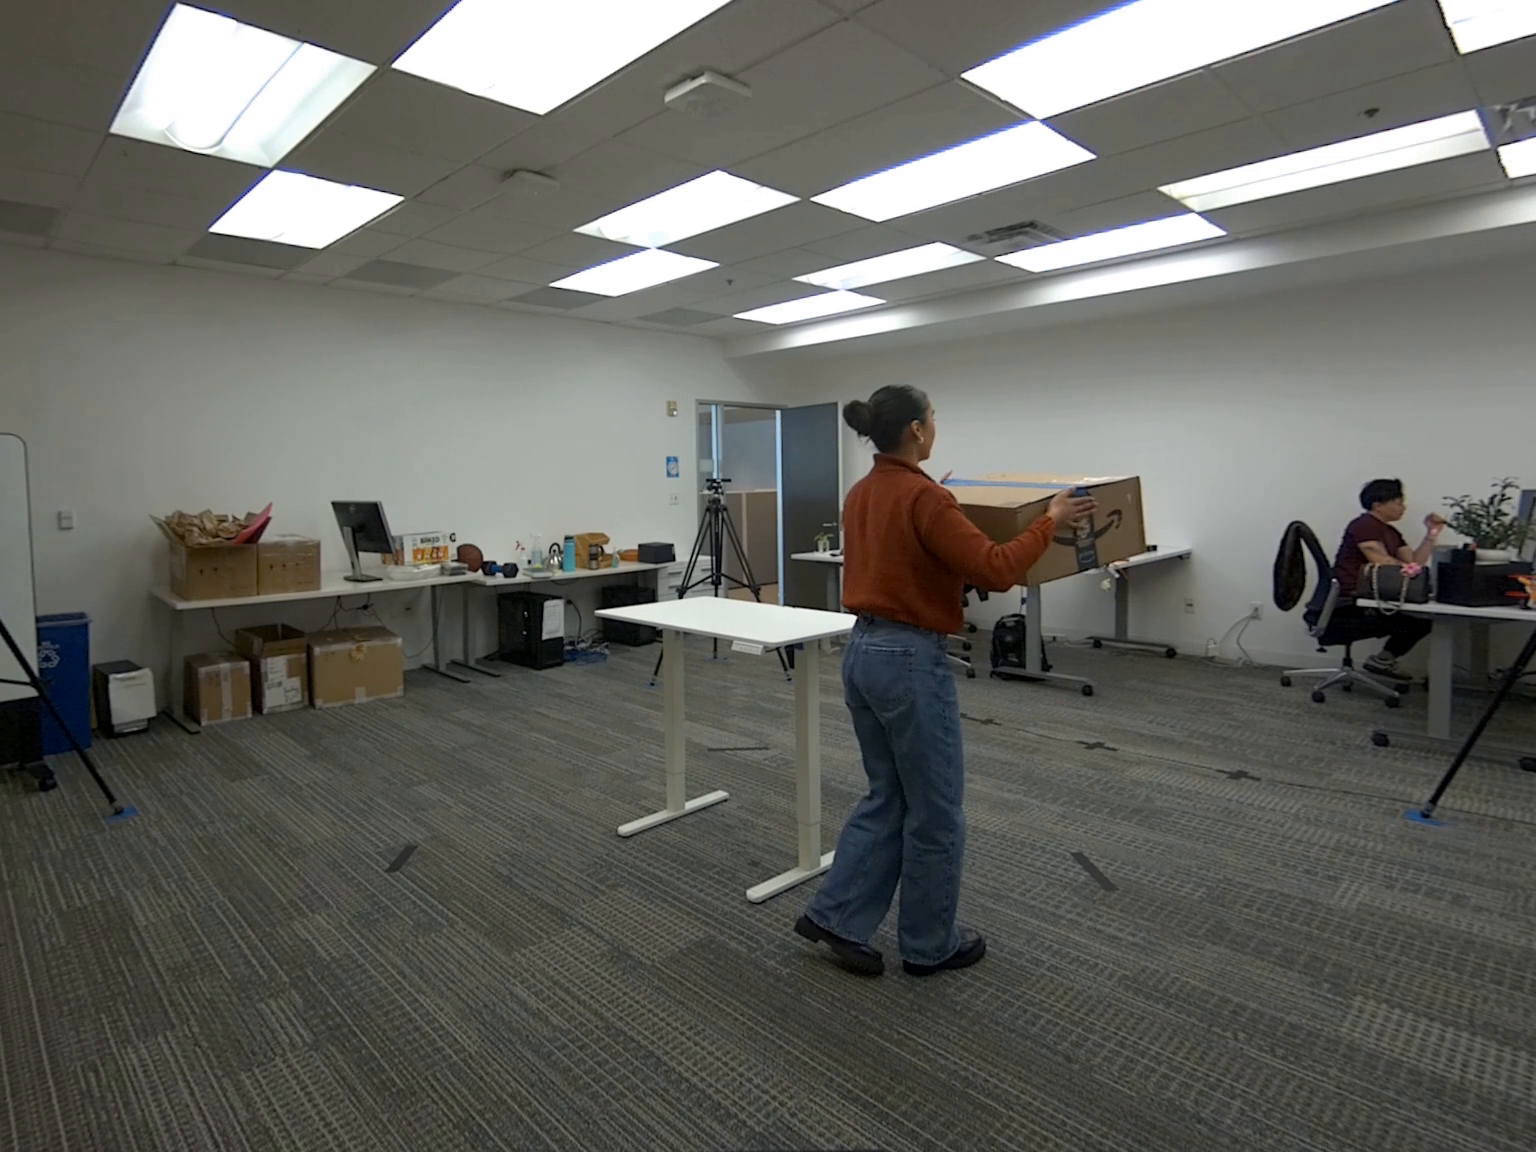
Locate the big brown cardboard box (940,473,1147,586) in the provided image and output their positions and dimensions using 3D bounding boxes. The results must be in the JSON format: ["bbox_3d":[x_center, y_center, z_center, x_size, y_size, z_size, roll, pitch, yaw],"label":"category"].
[{"bbox_3d":[0.718,-0.158,2.512,0.411,0.231,0.603,-14,11,-22],"label":"big brown cardboard box"}]
